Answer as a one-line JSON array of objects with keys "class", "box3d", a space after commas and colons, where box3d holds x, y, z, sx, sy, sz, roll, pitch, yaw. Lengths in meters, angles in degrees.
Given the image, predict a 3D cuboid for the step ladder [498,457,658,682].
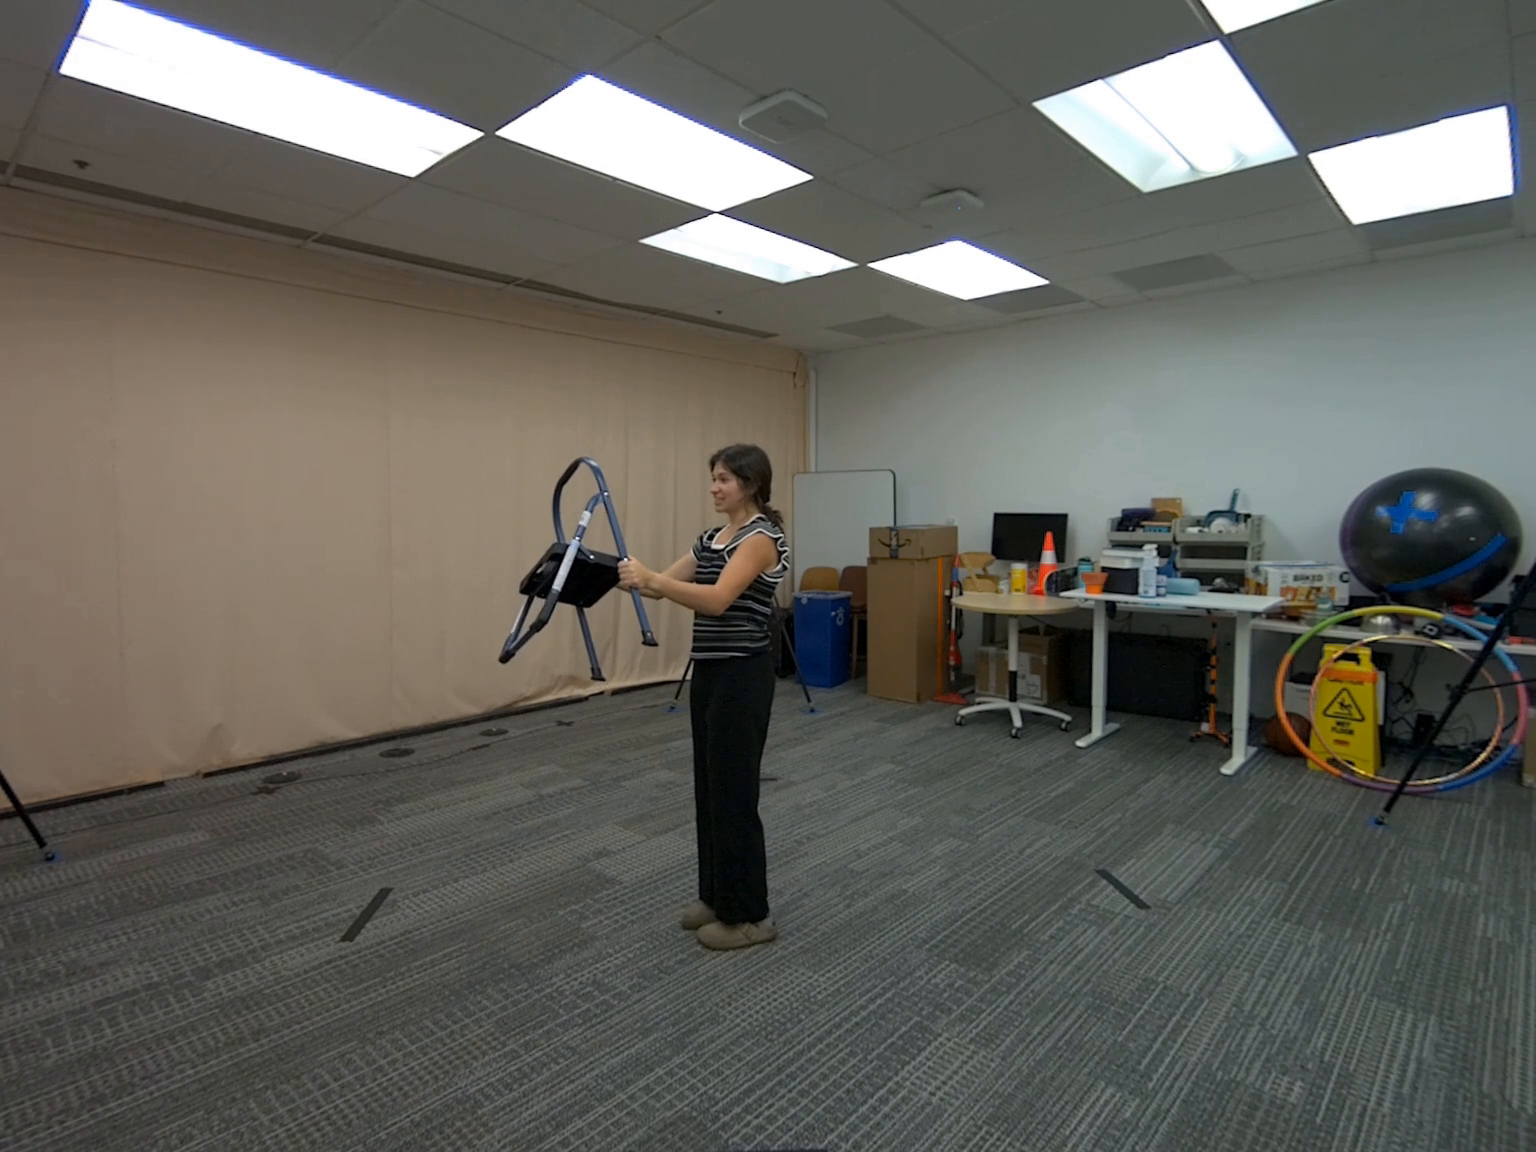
[{"class": "step ladder", "box3d": [-0.572, -0.040, 2.612, 0.339, 0.615, 0.437, 15, -29, -28]}]
